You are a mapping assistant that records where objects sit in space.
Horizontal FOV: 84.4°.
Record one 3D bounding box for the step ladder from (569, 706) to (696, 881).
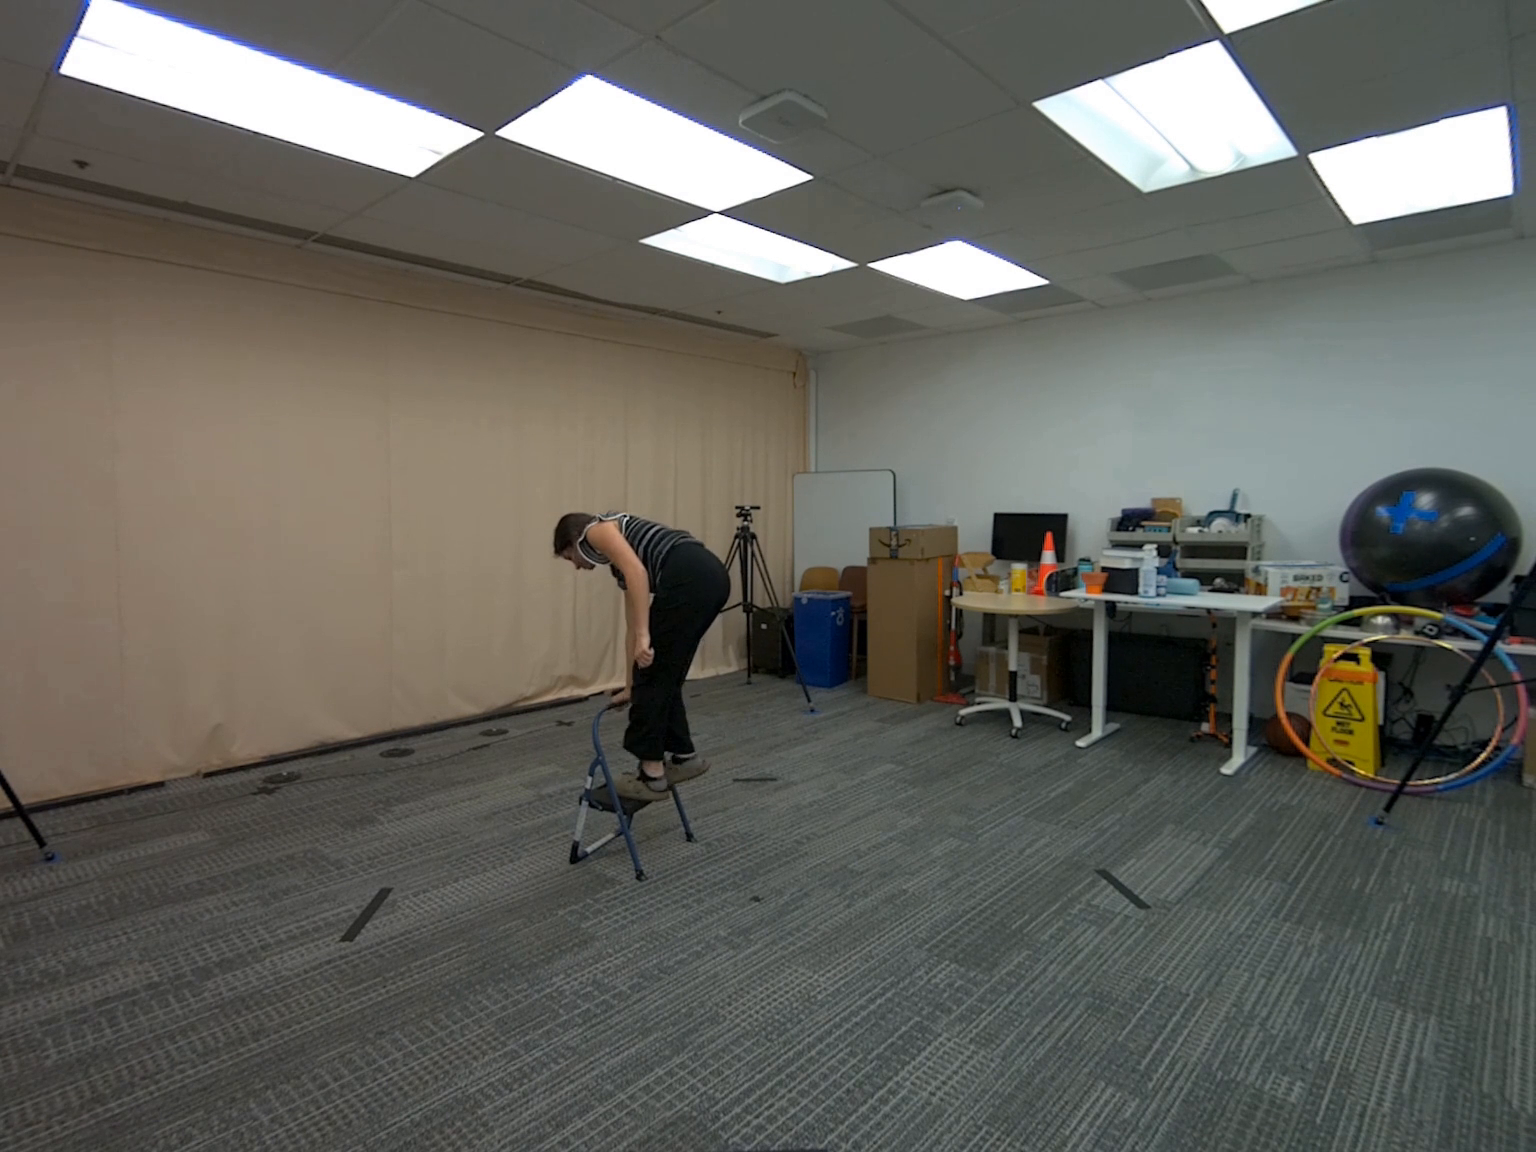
[{"bbox_3d":[-0.542,0.814,3.386,0.358,0.605,0.421,1,3,24],"label":"step ladder"}]
